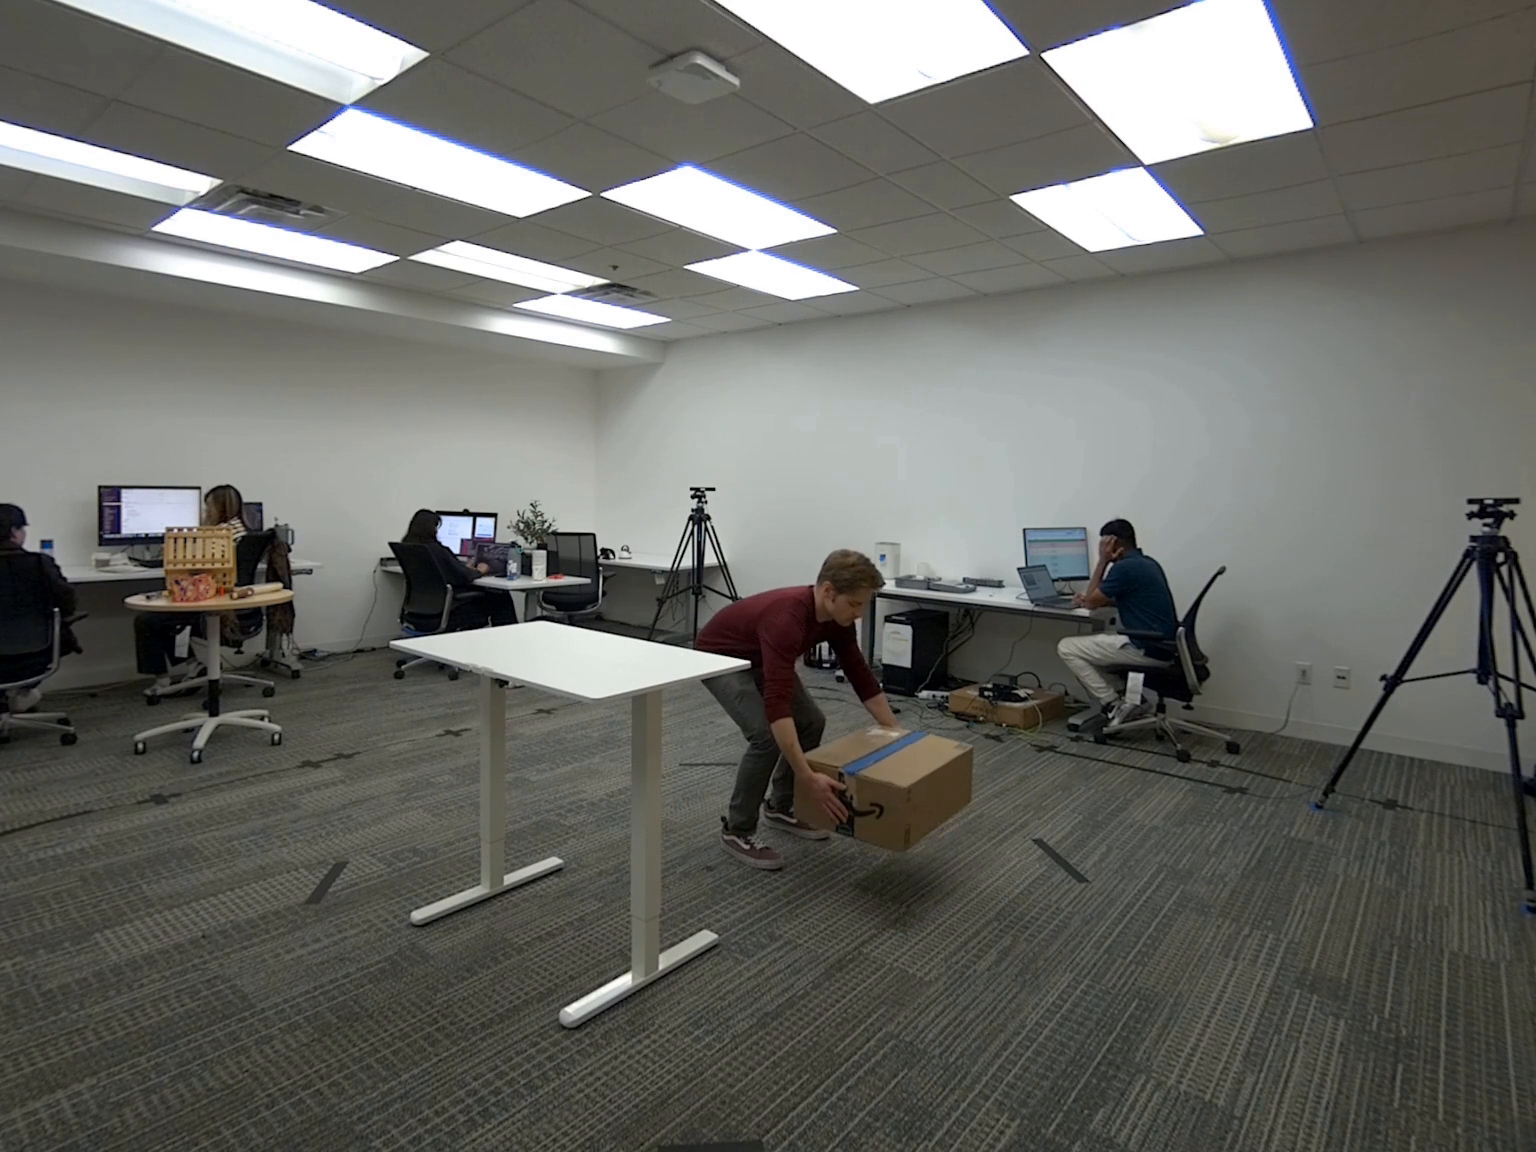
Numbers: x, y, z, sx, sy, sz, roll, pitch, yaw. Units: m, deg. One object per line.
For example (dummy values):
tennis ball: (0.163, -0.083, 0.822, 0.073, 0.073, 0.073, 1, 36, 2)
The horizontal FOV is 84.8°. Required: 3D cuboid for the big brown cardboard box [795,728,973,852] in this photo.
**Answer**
big brown cardboard box: (0.416, 0.724, 3.016, 0.431, 0.232, 0.572, 6, 8, 36)
